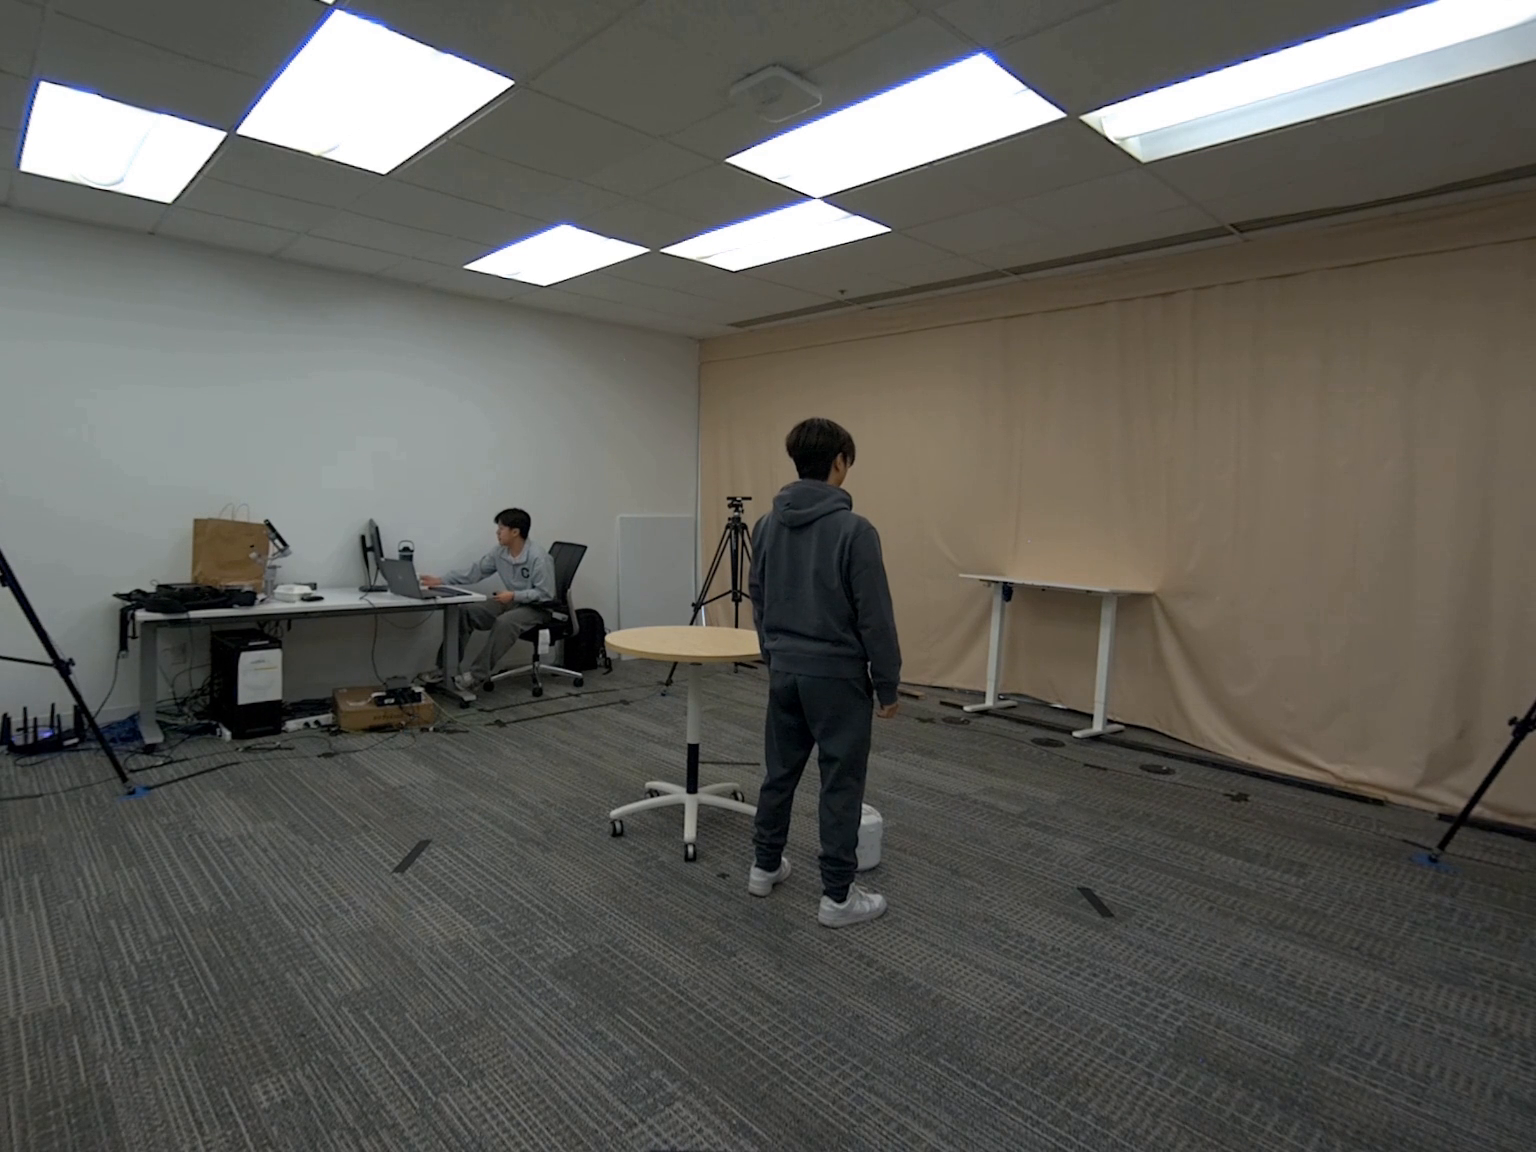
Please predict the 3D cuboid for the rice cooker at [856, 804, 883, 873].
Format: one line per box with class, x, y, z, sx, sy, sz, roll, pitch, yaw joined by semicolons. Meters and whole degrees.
rice cooker;0.326;0.994;3.241;0.225;0.232;0.214;4;5;23
